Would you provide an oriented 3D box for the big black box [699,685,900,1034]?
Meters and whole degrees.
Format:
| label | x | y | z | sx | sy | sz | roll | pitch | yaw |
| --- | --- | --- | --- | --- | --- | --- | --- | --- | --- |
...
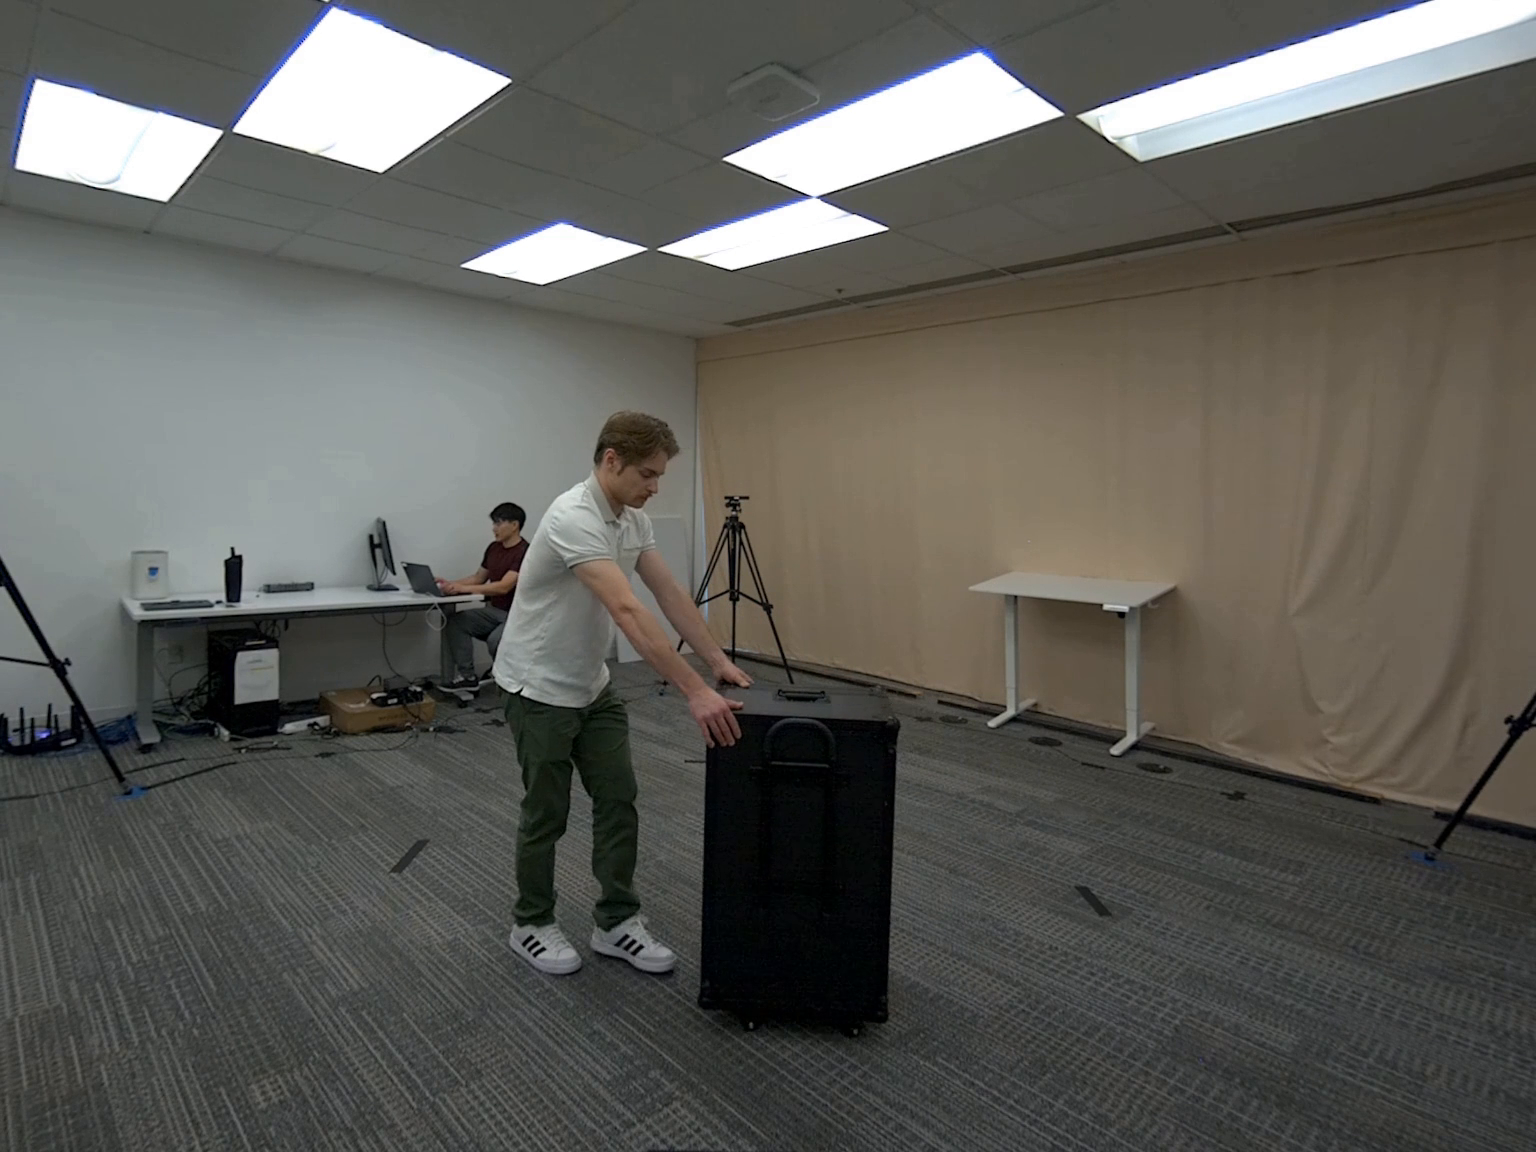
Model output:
| label | x | y | z | sx | sy | sz | roll | pitch | yaw |
| --- | --- | --- | --- | --- | --- | --- | --- | --- | --- |
| big black box | 0.082 | 0.763 | 2.300 | 0.525 | 0.866 | 0.385 | 2 | 4 | 3 |
